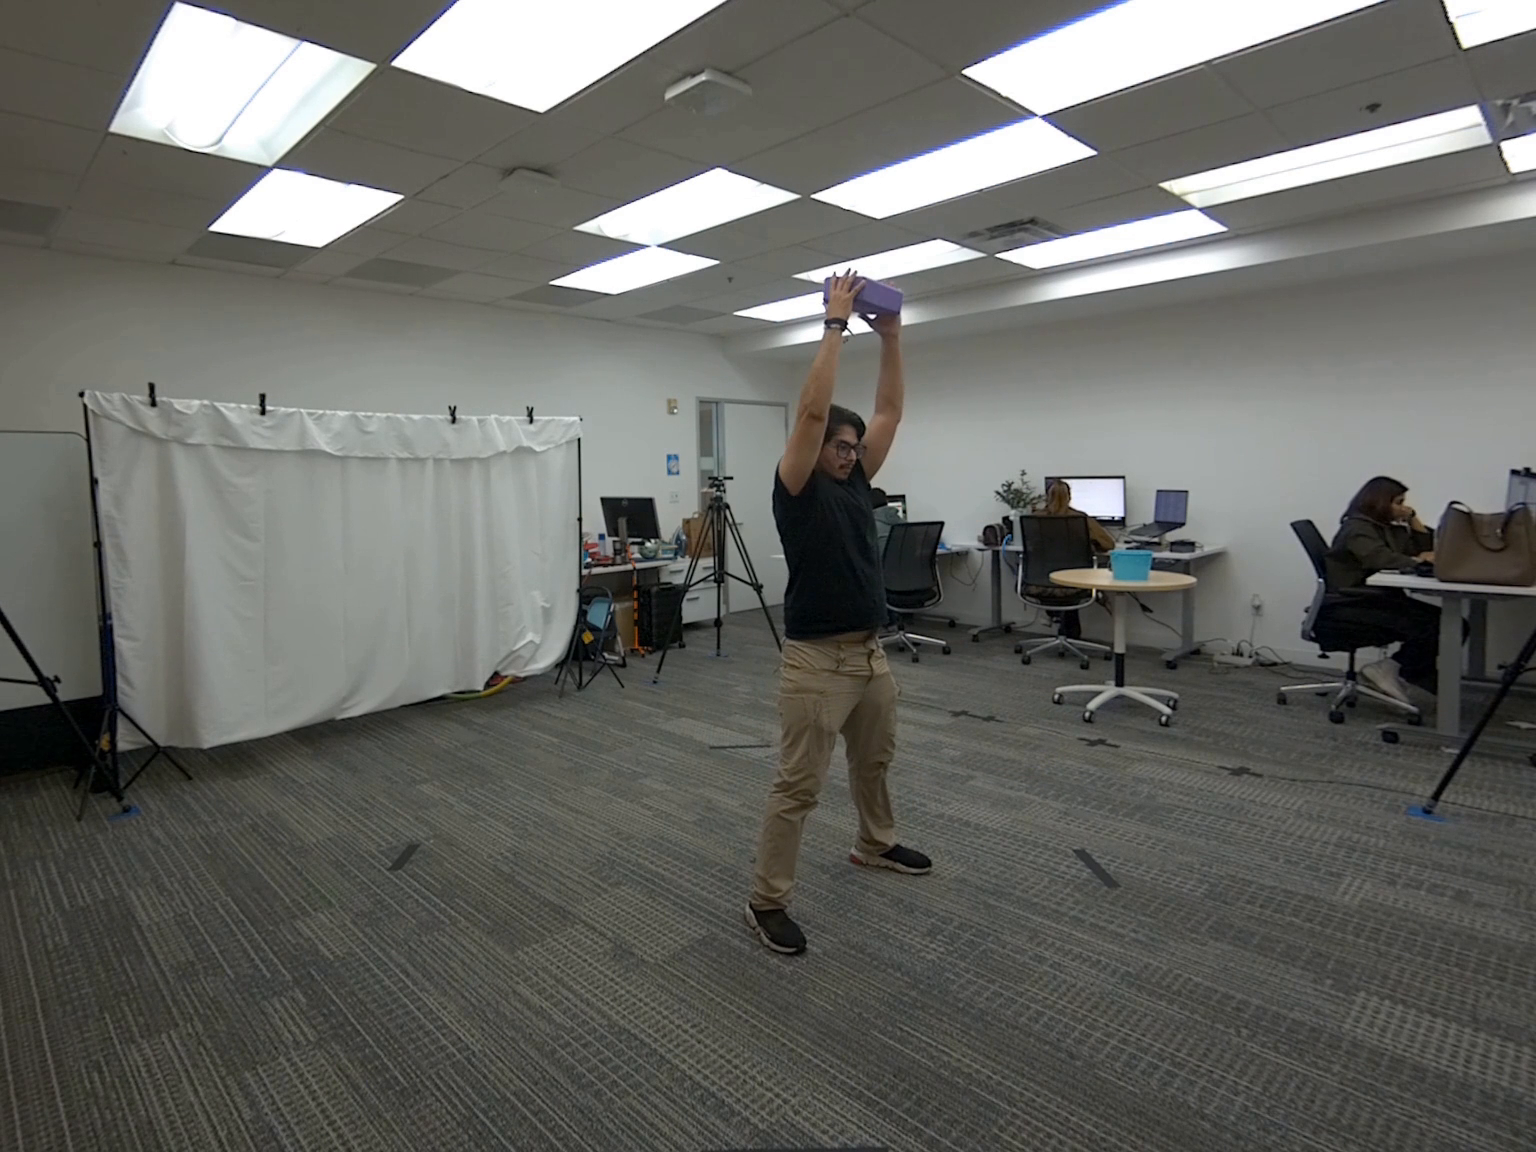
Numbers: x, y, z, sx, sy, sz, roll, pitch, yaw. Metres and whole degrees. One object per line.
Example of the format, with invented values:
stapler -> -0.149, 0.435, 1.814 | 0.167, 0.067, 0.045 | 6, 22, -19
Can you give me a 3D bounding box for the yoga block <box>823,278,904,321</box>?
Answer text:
yoga block -> 0.297, -0.847, 2.583 | 0.154, 0.076, 0.223 | 18, 14, 41
